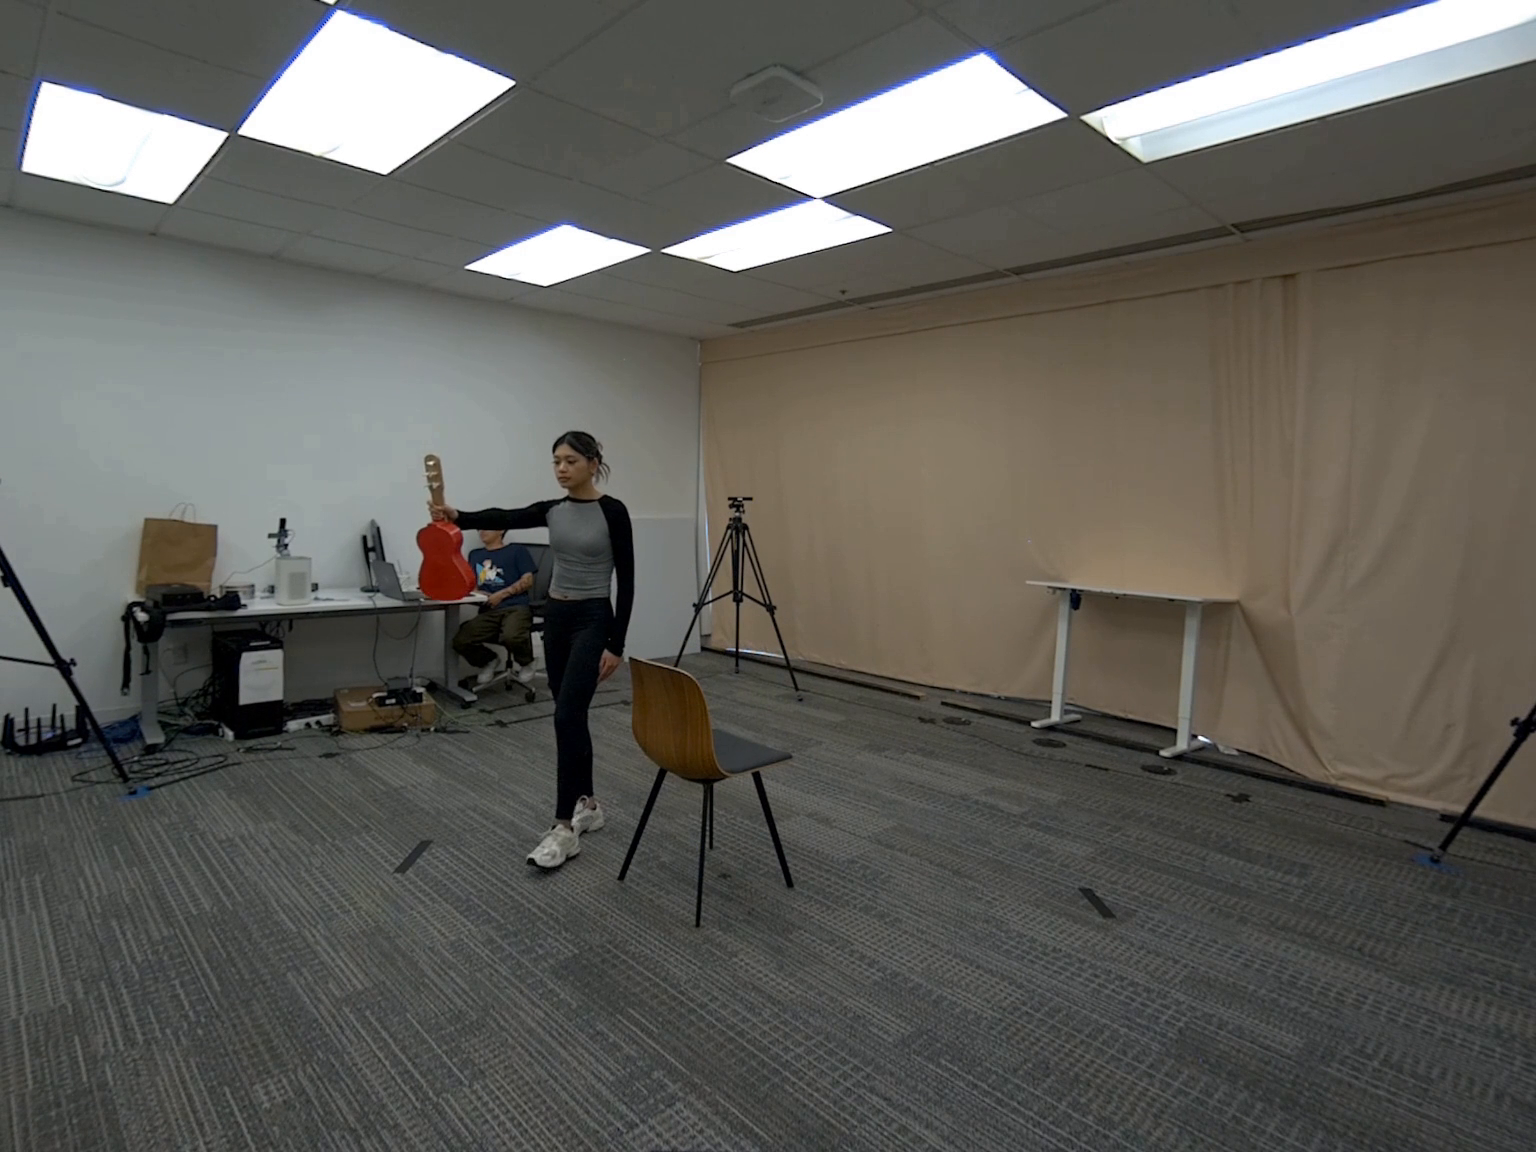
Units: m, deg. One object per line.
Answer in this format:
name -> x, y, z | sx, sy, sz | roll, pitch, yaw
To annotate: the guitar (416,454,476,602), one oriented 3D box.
guitar -> -1.147, -0.158, 2.854 | 0.195, 0.491, 0.071 | -6, 16, 16
